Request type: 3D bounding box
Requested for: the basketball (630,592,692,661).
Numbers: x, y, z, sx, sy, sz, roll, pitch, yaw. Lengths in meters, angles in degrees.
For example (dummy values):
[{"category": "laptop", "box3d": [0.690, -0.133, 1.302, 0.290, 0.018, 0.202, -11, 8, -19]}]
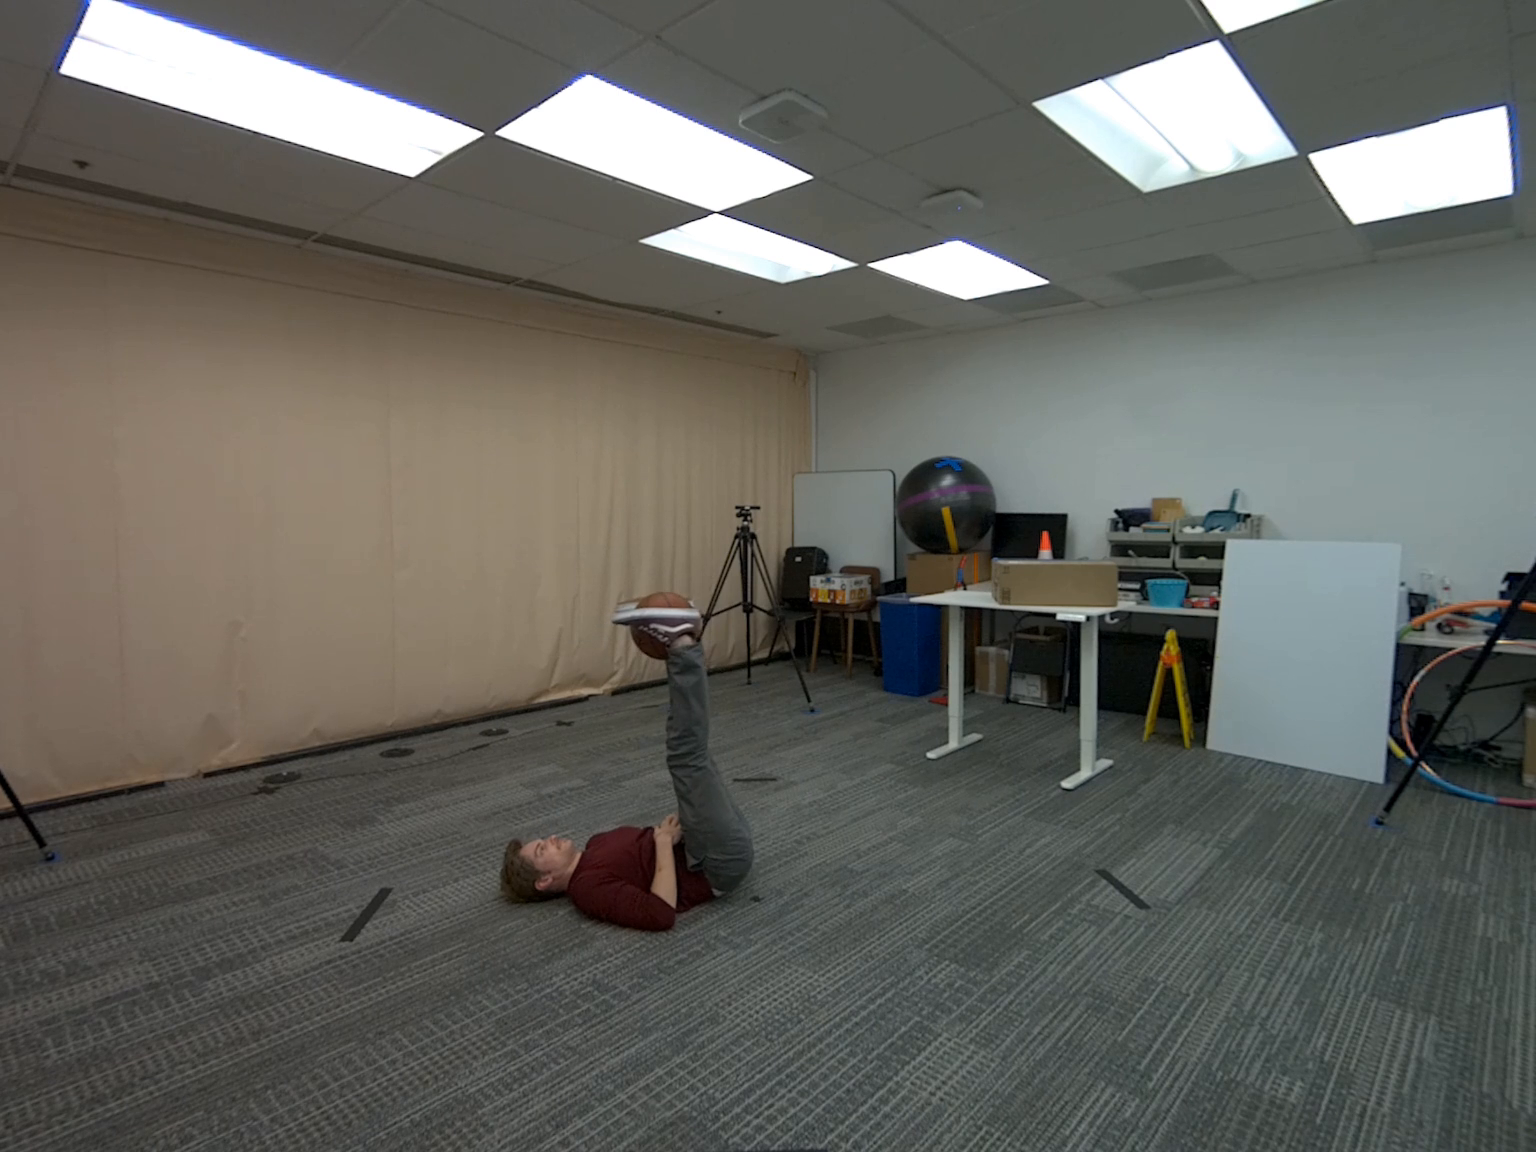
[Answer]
[{"category": "basketball", "box3d": [-0.361, 0.176, 2.952, 0.235, 0.235, 0.237, 3, 5, -2]}]
